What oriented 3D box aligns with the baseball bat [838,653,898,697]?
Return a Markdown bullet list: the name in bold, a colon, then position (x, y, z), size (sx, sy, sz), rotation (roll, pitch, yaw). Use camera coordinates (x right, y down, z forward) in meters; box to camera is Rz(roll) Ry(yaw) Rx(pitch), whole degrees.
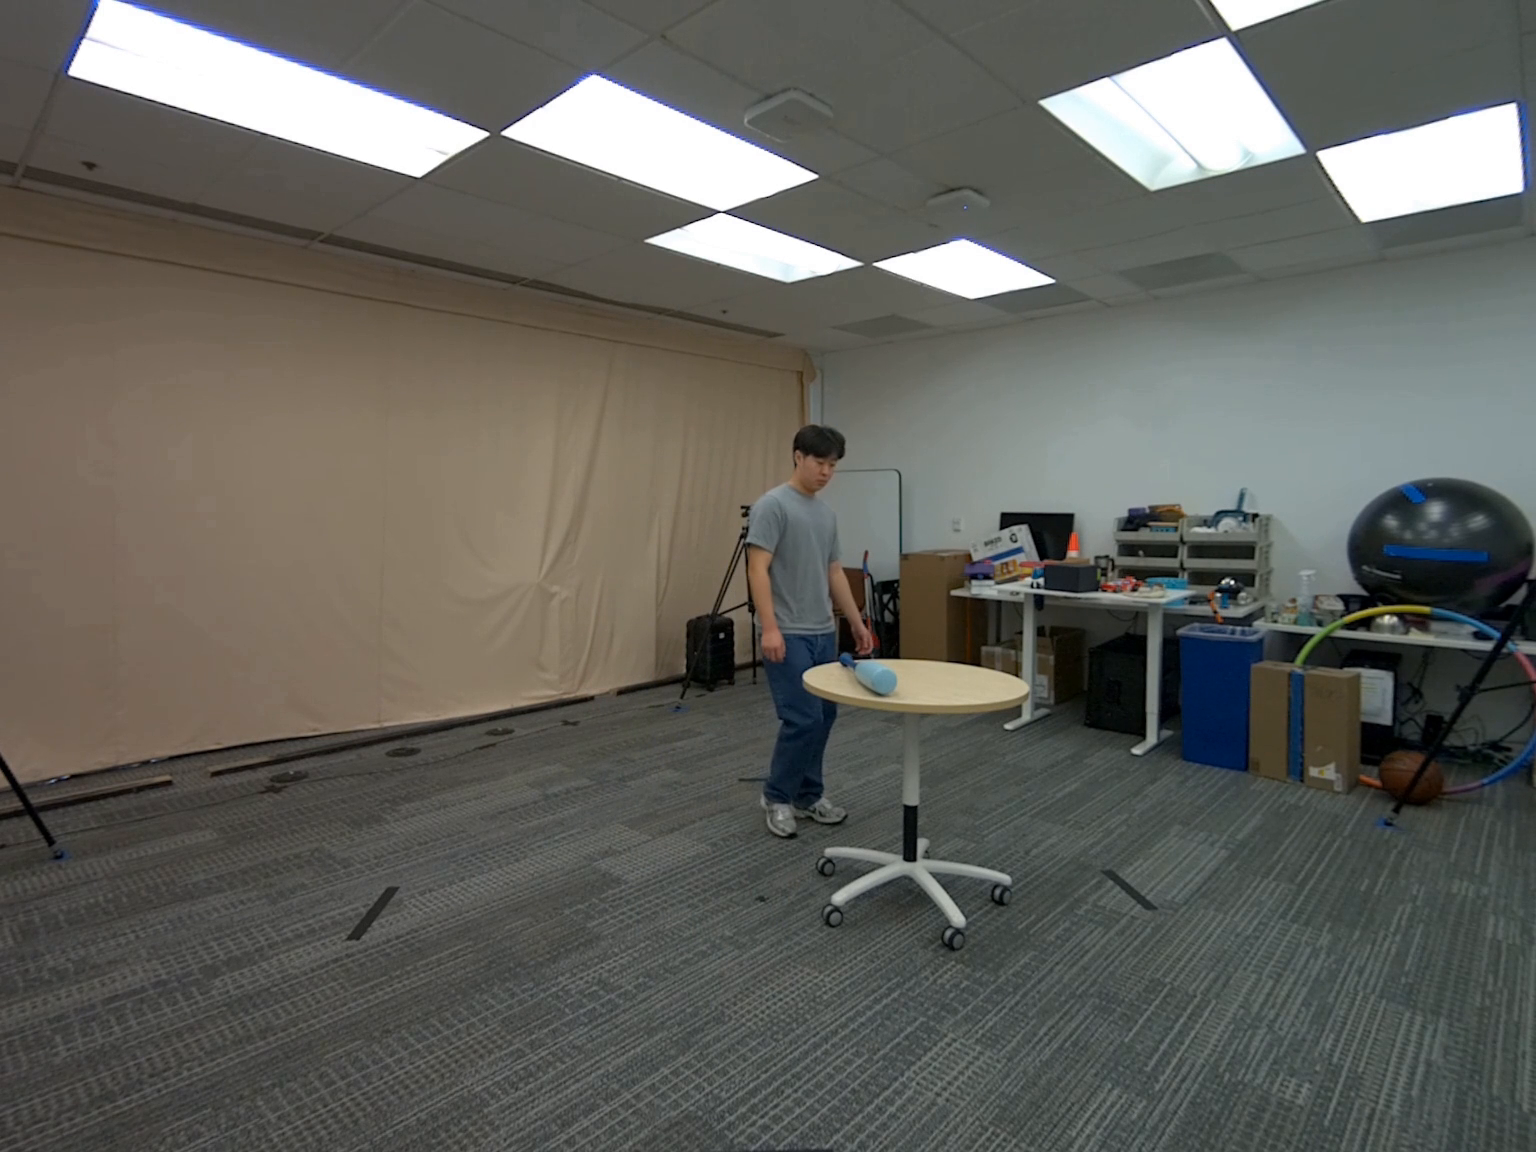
- **baseball bat**: position (0.328, 0.325, 2.914), size (0.088, 0.089, 0.549), rotation (-1, 2, -11)
